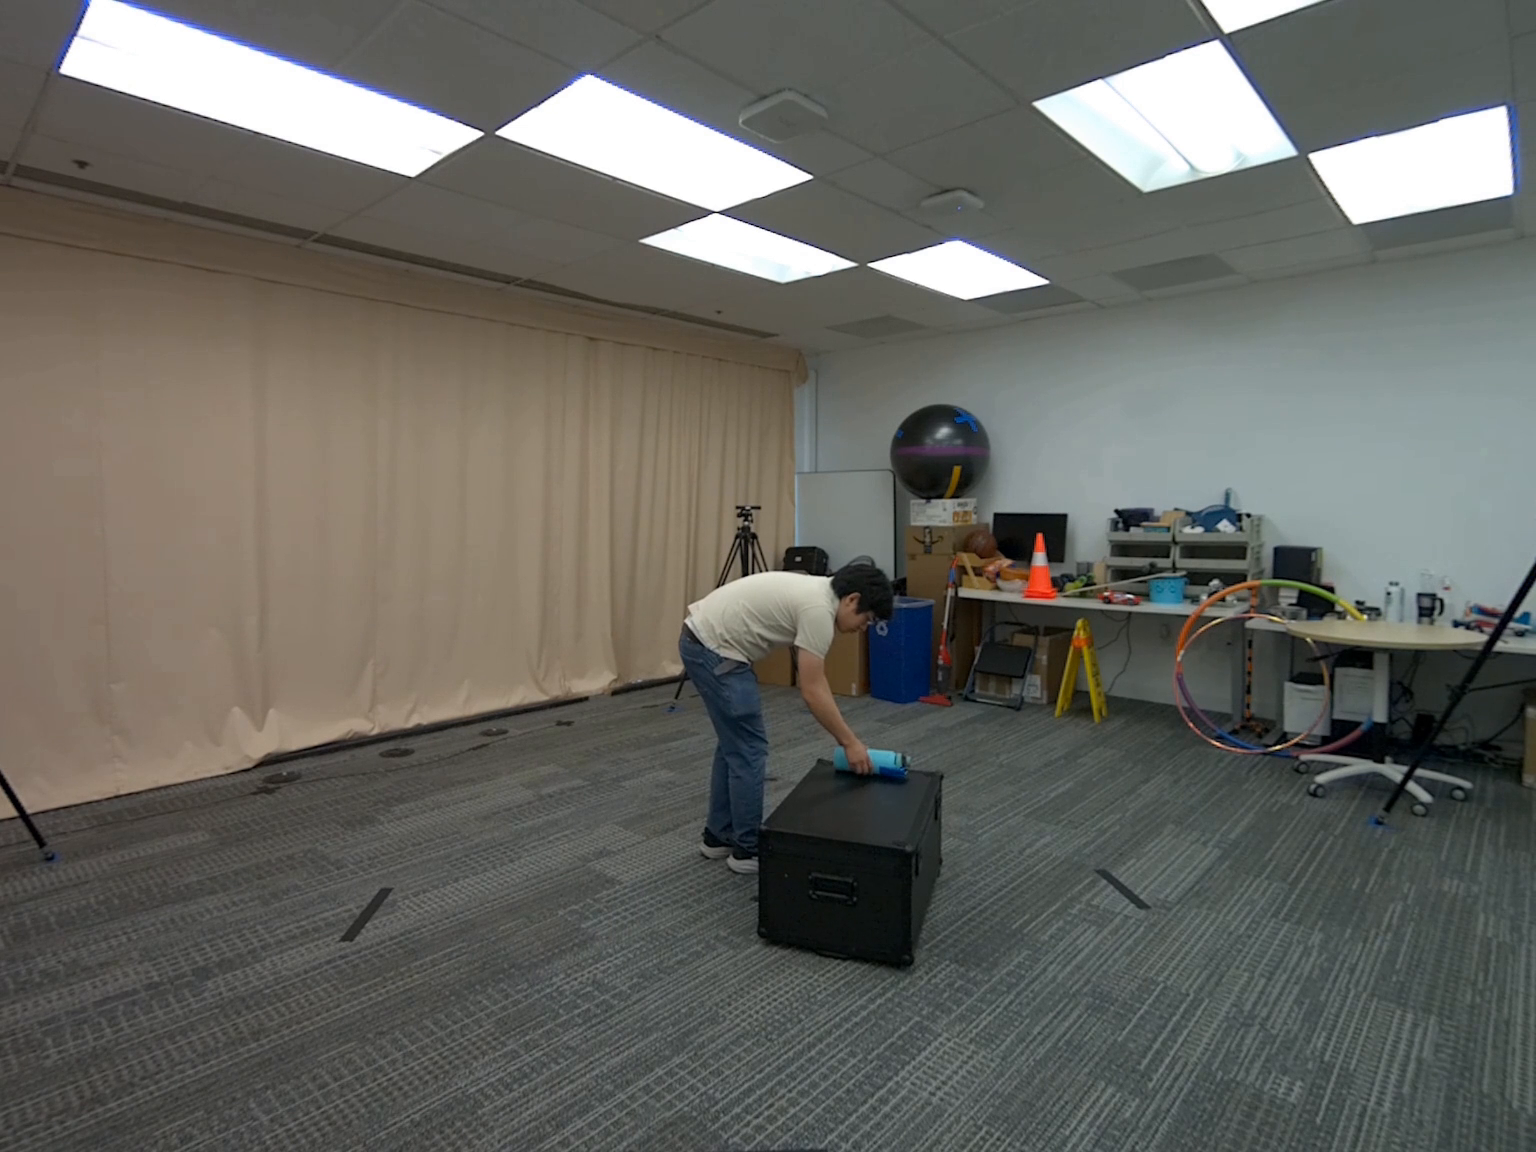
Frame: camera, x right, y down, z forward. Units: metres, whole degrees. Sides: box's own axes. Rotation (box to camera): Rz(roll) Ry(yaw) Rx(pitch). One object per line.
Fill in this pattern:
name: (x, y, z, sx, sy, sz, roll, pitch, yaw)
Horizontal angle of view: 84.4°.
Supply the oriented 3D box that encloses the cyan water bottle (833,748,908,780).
cyan water bottle: (0.404, 0.707, 3.184, 0.289, 0.092, 0.091, -1, 3, 17)
